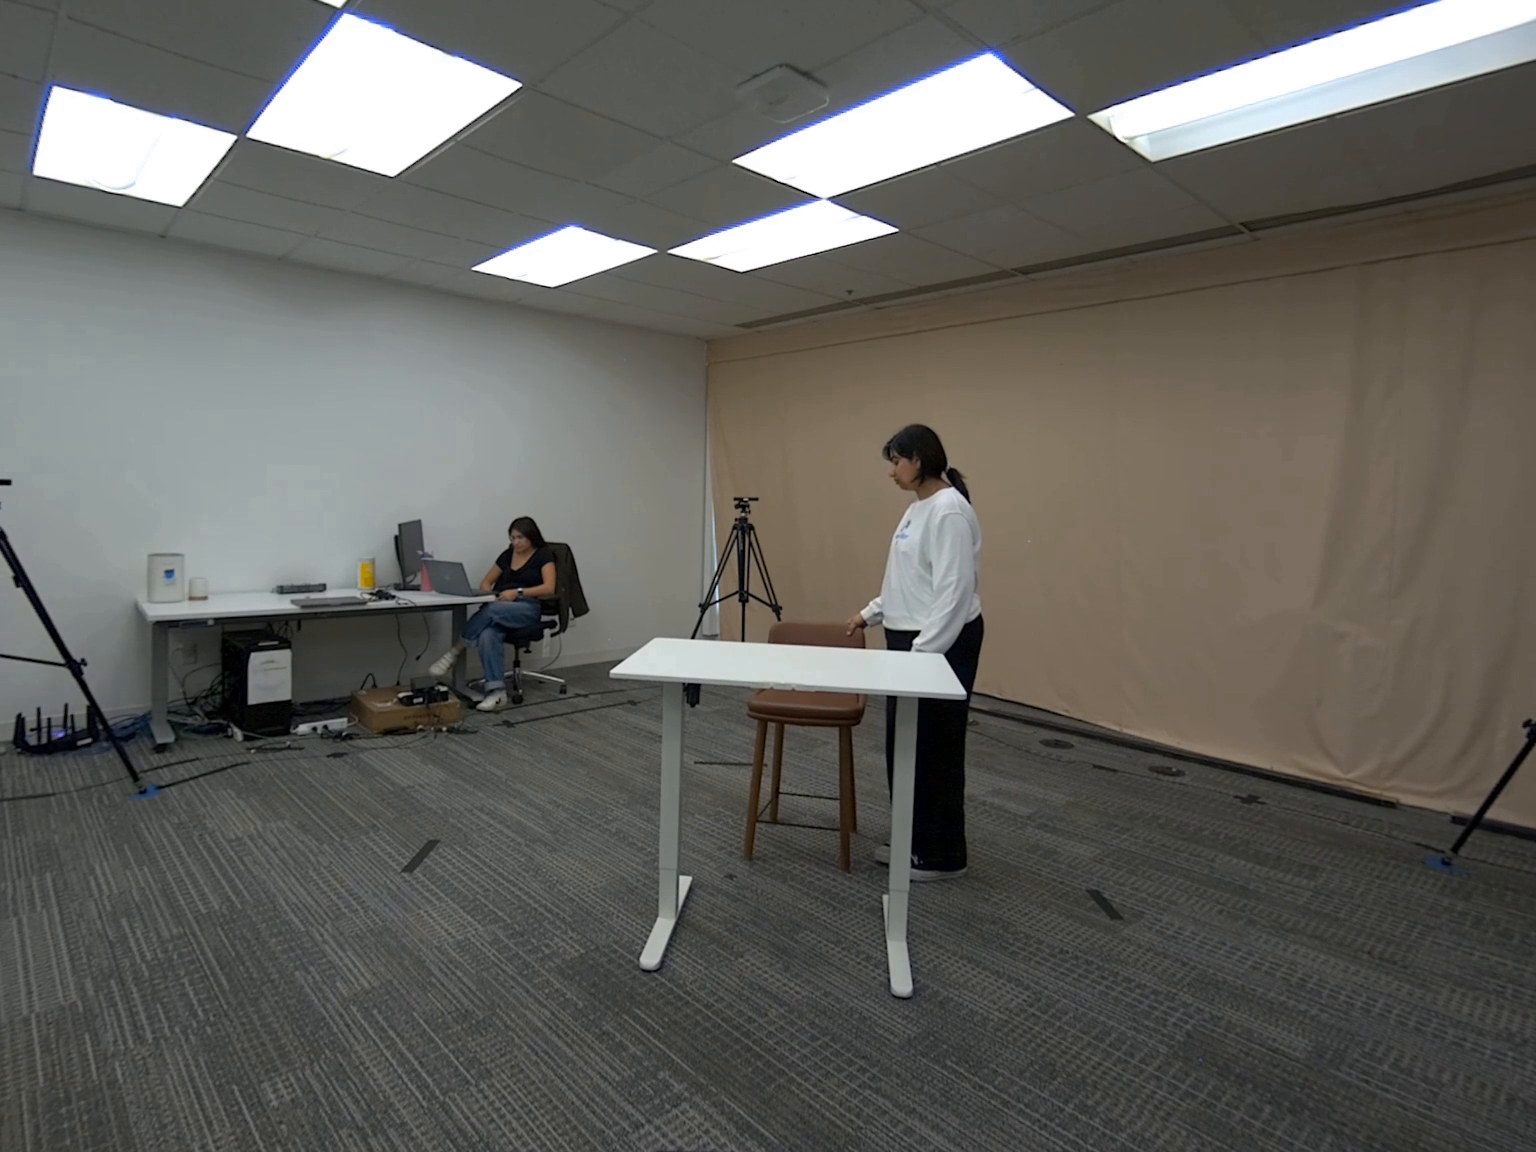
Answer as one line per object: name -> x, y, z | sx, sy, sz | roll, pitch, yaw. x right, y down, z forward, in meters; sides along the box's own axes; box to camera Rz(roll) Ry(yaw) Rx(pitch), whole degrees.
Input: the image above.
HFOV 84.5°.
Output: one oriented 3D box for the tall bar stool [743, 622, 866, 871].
tall bar stool -> 0.154, 0.655, 3.405 | 0.462, 0.889, 0.462 | 2, 1, 14
